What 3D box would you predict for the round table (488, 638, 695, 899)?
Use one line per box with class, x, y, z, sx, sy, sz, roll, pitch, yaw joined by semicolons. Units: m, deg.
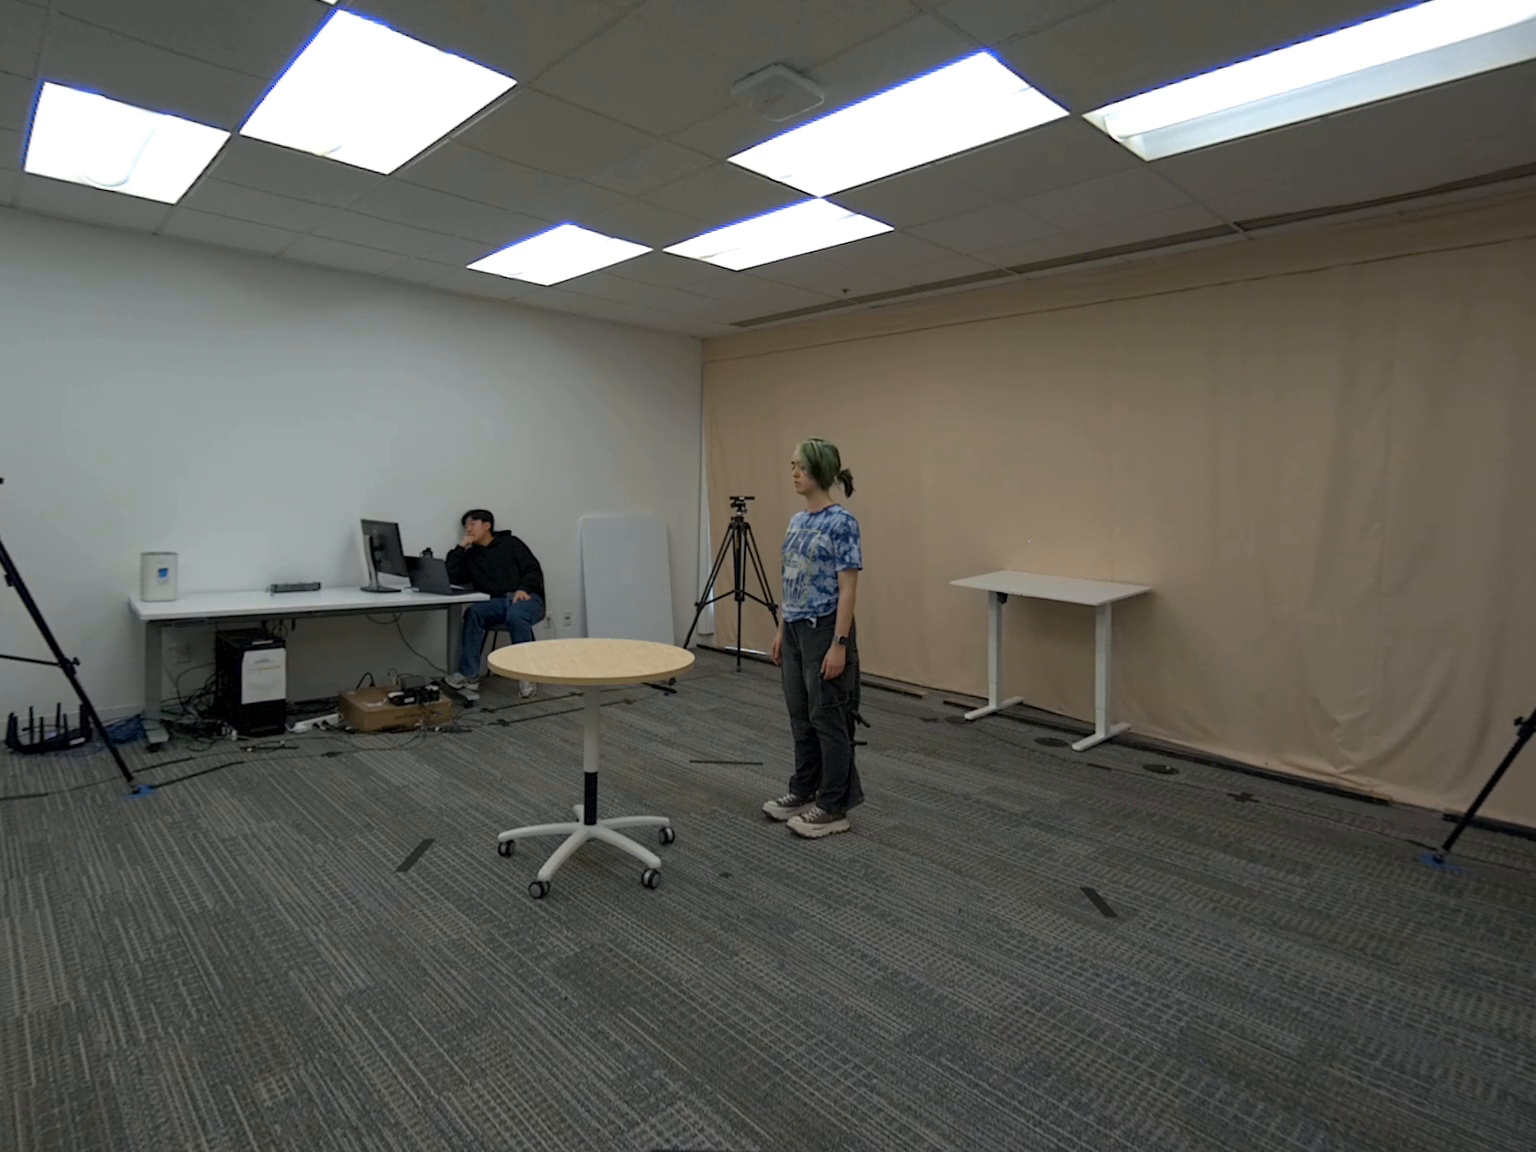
round table;-0.671;0.696;3.189;0.763;0.792;0.767;1;4;-1
